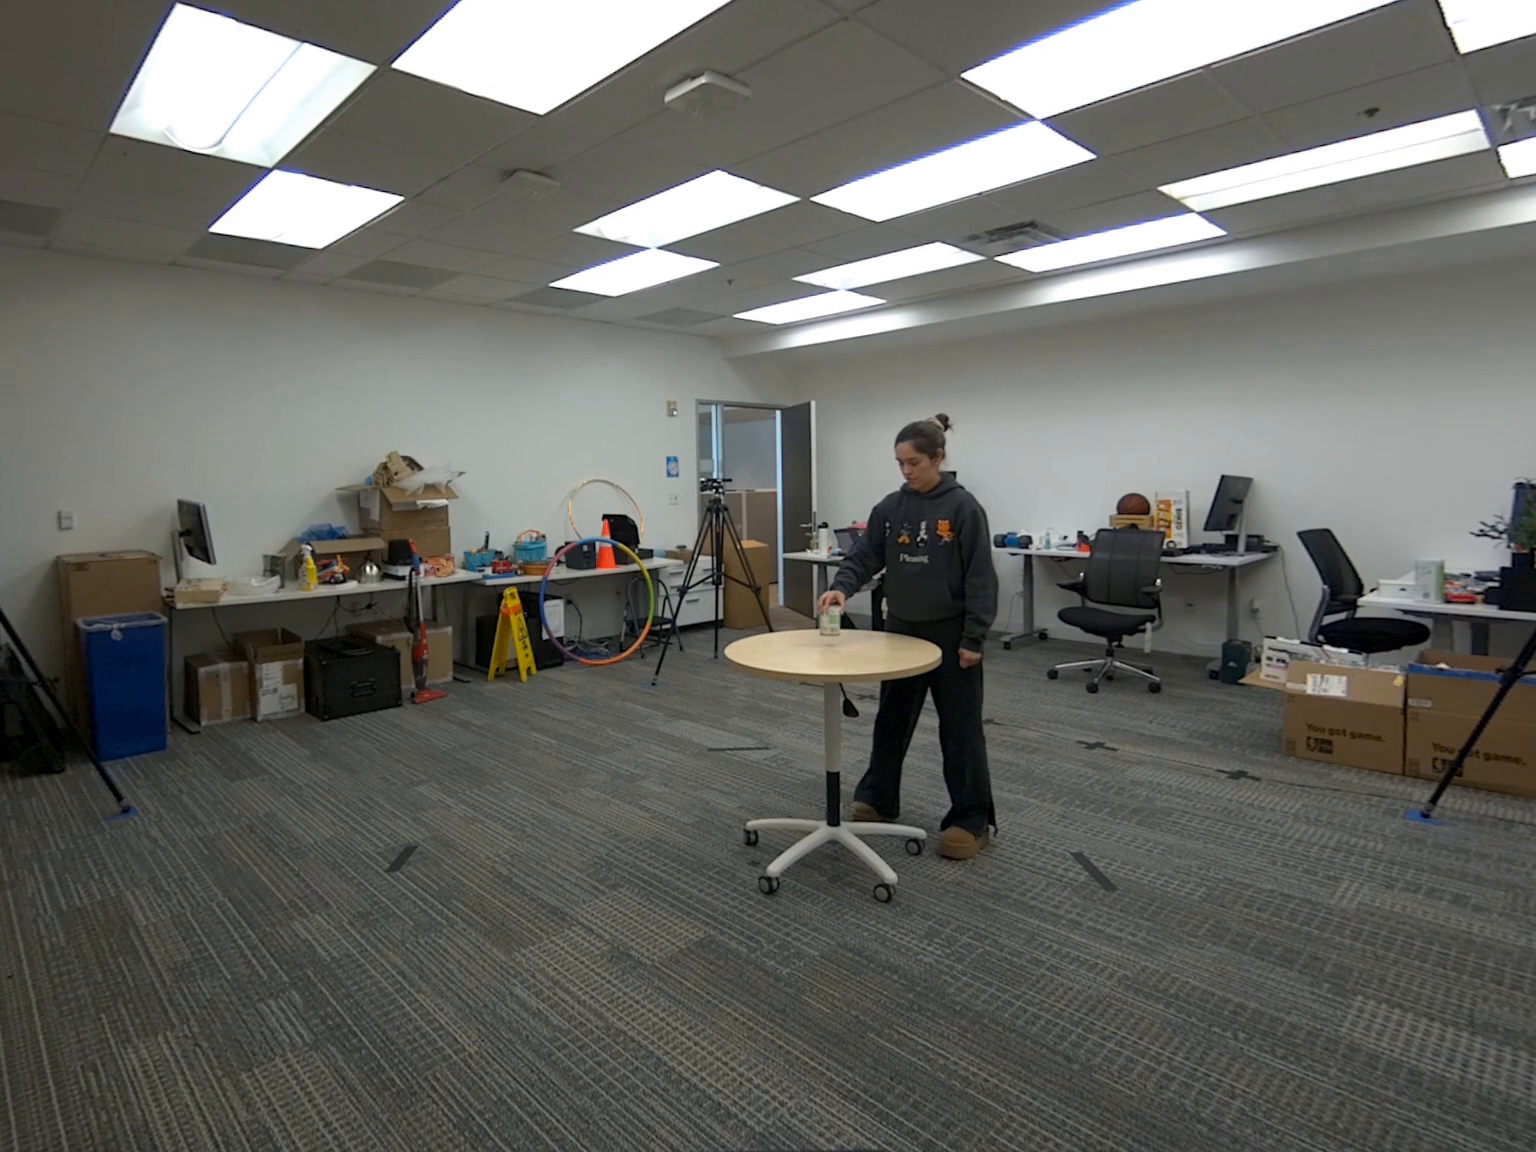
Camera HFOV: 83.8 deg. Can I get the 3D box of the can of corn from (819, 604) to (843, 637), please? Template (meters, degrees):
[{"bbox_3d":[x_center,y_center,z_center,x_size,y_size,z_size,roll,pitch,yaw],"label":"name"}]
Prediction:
[{"bbox_3d":[0.257,0.162,3.105,0.074,0.111,0.074,0,1,-2],"label":"can of corn"}]
